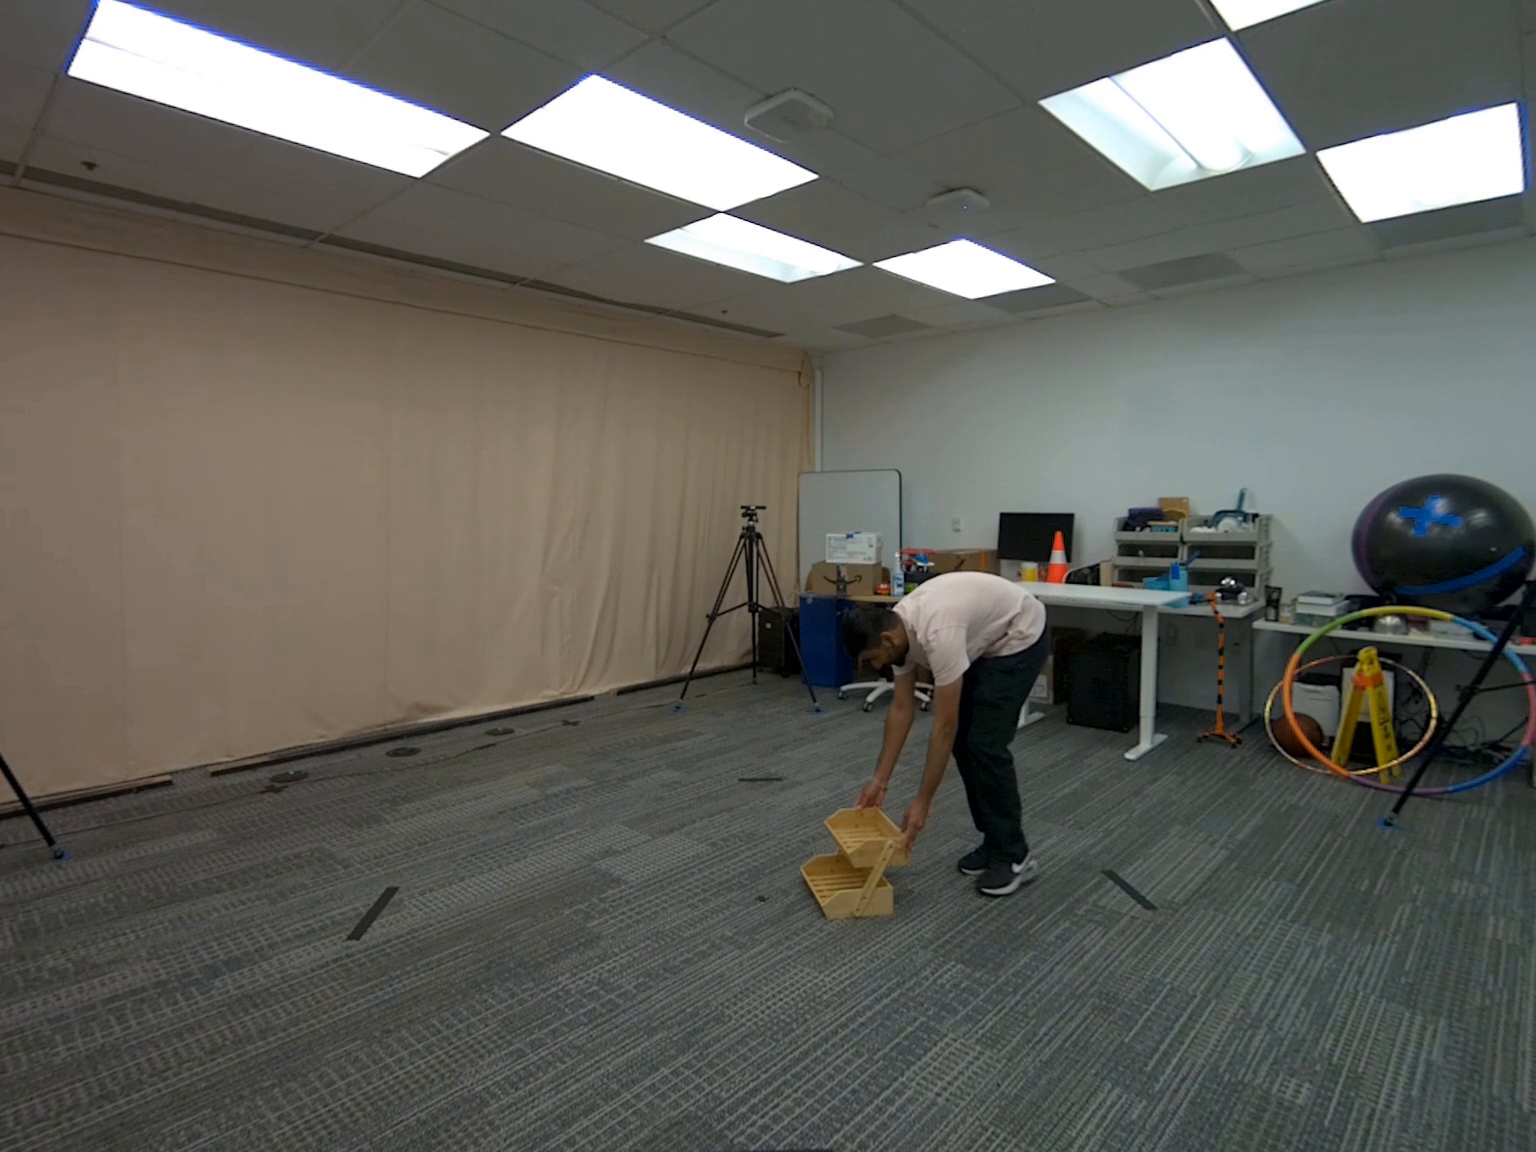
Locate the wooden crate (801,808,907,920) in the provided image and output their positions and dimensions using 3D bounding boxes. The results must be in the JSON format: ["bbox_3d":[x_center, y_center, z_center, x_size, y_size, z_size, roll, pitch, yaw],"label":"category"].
[{"bbox_3d":[0.296,1.014,2.991,0.299,0.273,0.329,0,4,-11],"label":"wooden crate"}]
